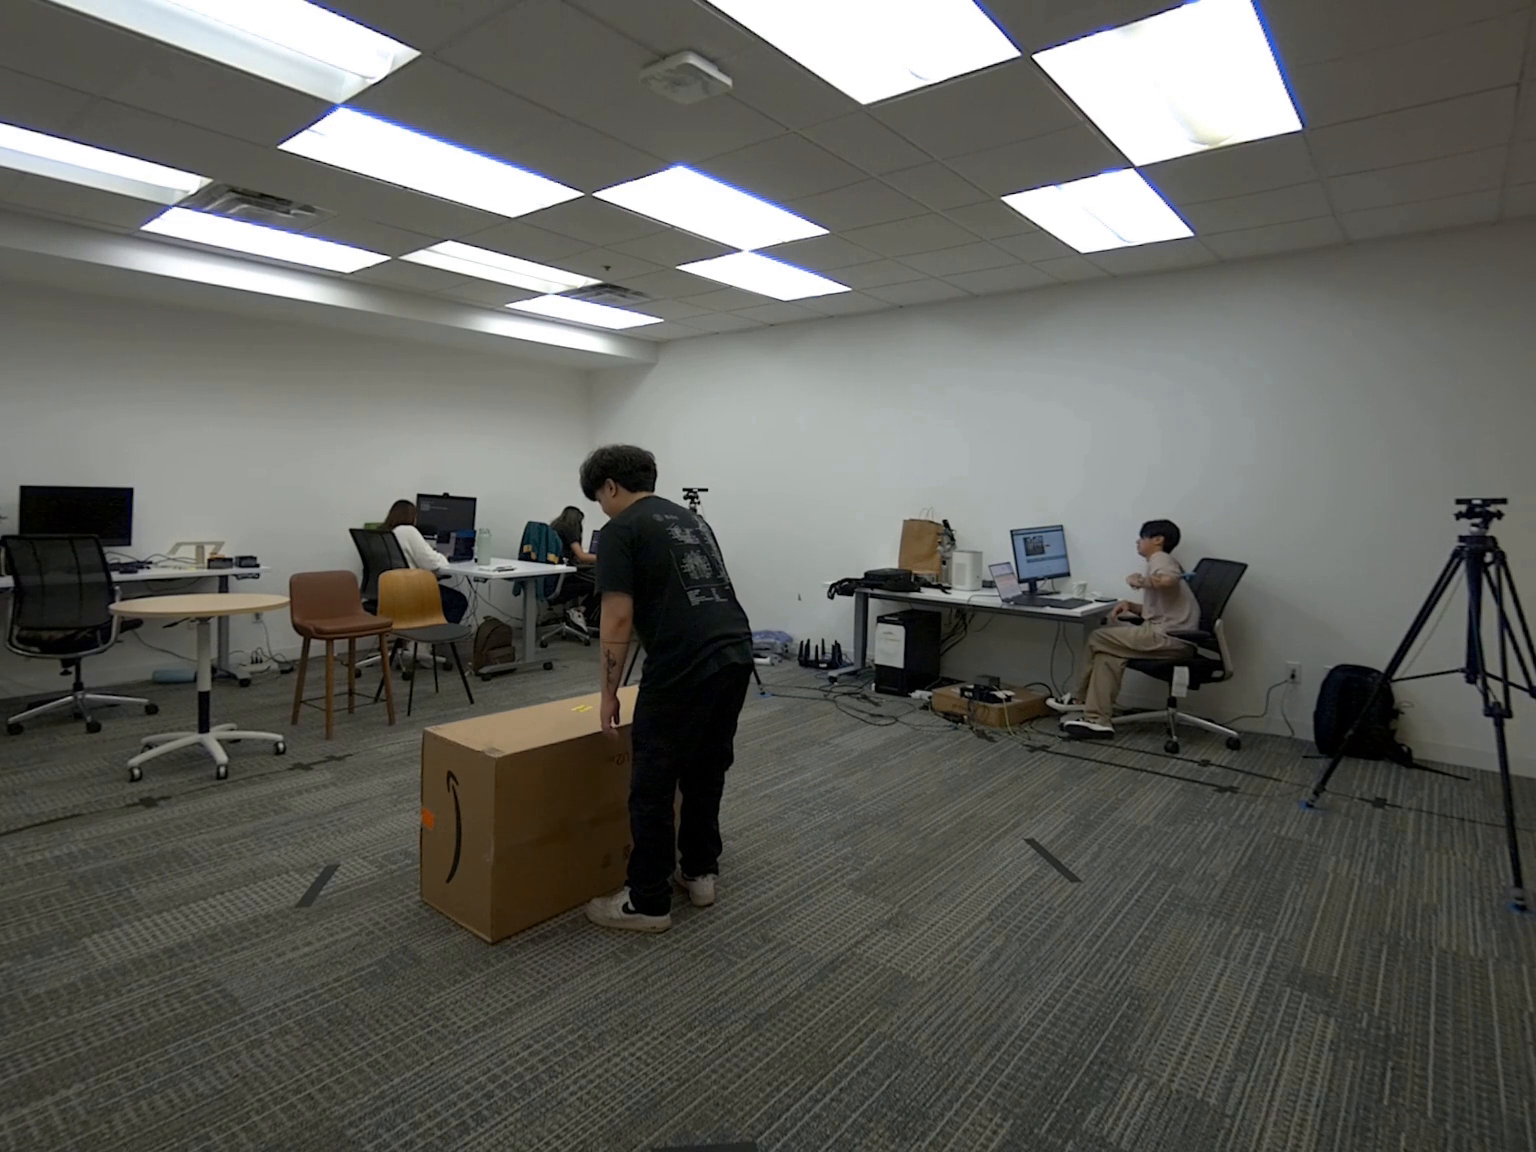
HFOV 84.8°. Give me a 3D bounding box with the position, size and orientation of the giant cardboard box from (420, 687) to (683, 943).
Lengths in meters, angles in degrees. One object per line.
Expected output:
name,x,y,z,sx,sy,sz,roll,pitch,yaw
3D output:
giant cardboard box,-0.690,0.780,3.072,0.461,0.583,0.996,3,4,39
